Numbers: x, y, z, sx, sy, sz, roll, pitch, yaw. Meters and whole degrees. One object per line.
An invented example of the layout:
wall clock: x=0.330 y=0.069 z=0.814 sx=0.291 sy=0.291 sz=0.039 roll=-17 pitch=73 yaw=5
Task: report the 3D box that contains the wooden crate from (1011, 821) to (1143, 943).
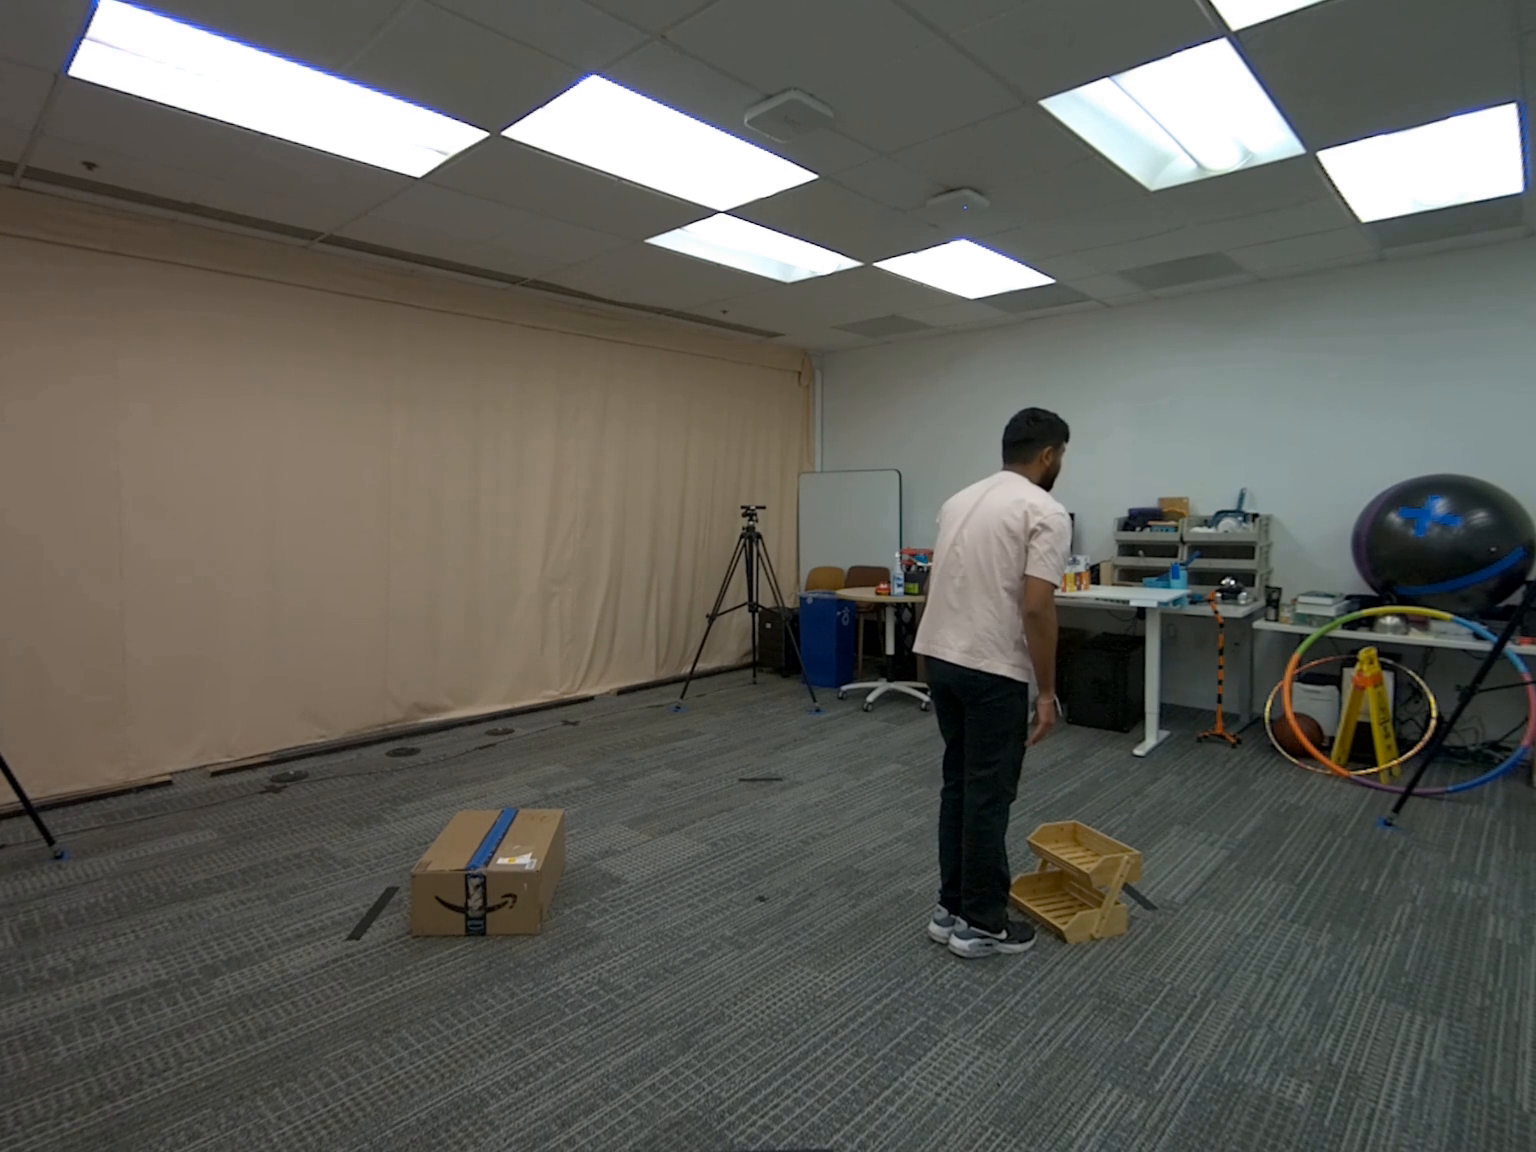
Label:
wooden crate: x=1.017 y=1.012 z=2.843 sx=0.296 sy=0.273 sz=0.331 roll=-1 pitch=4 yaw=-20
